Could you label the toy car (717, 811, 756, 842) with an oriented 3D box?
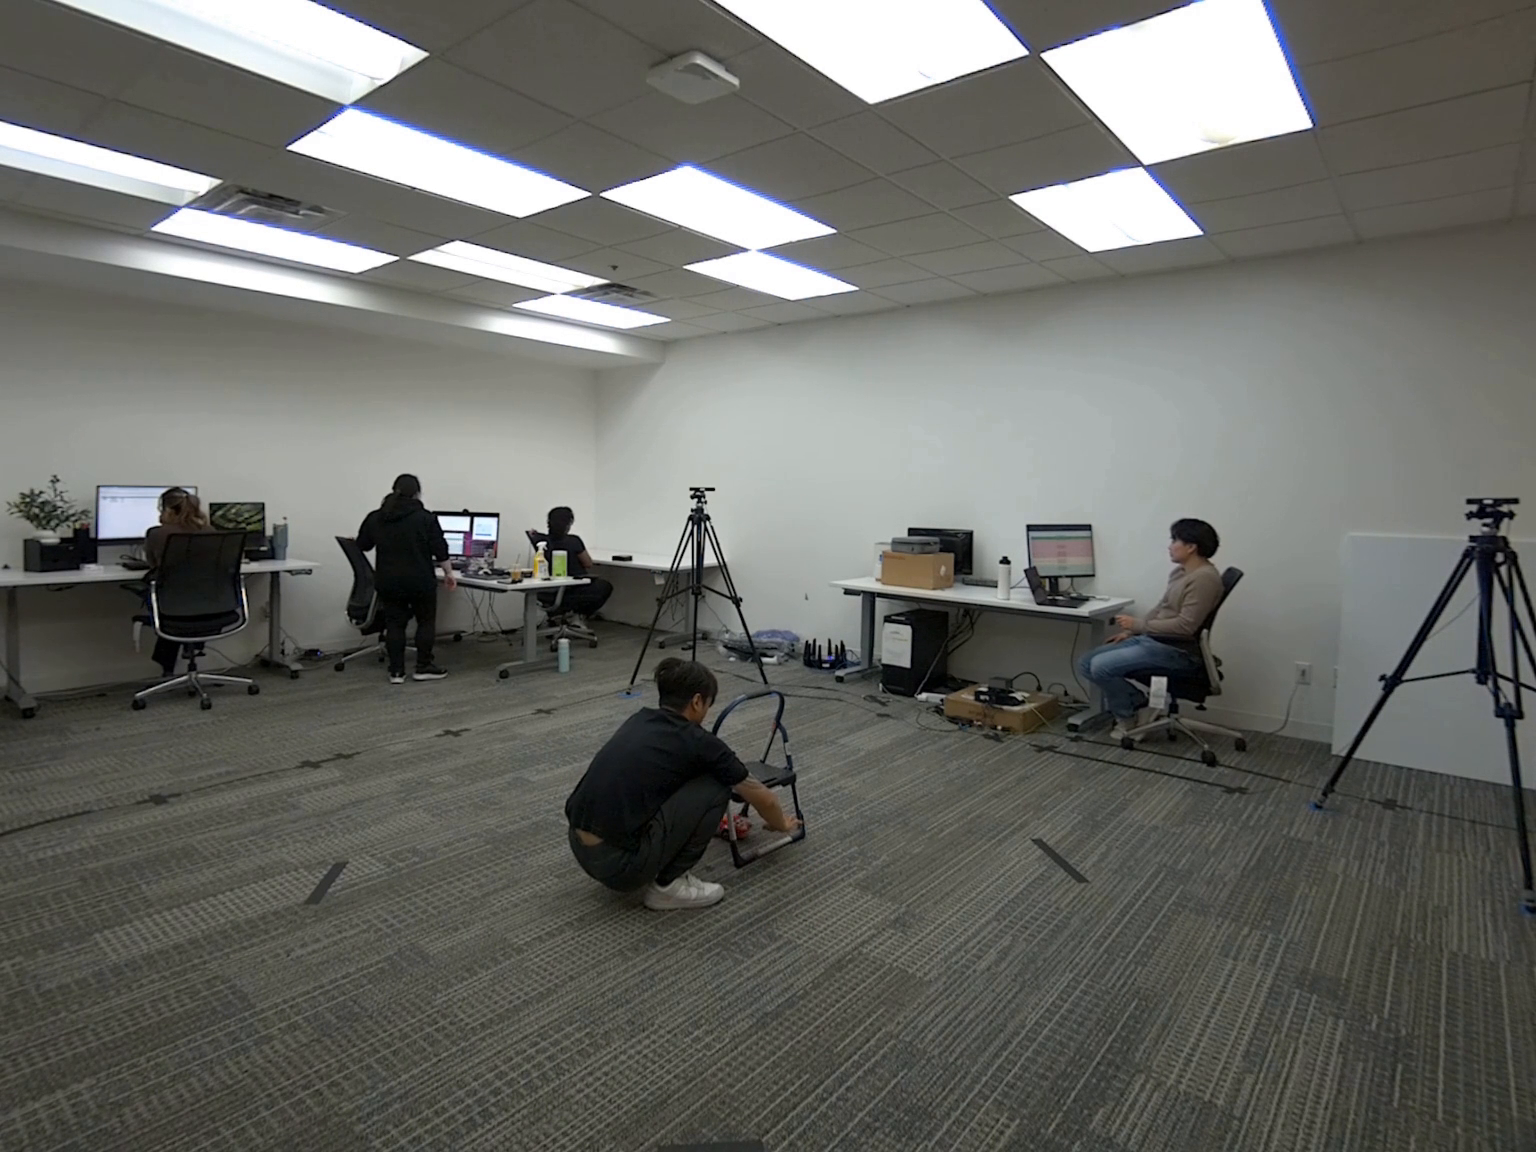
[{"bbox_3d":[-0.187,1.004,3.422,0.260,0.083,0.127,-11,-3,29],"label":"toy car"}]
